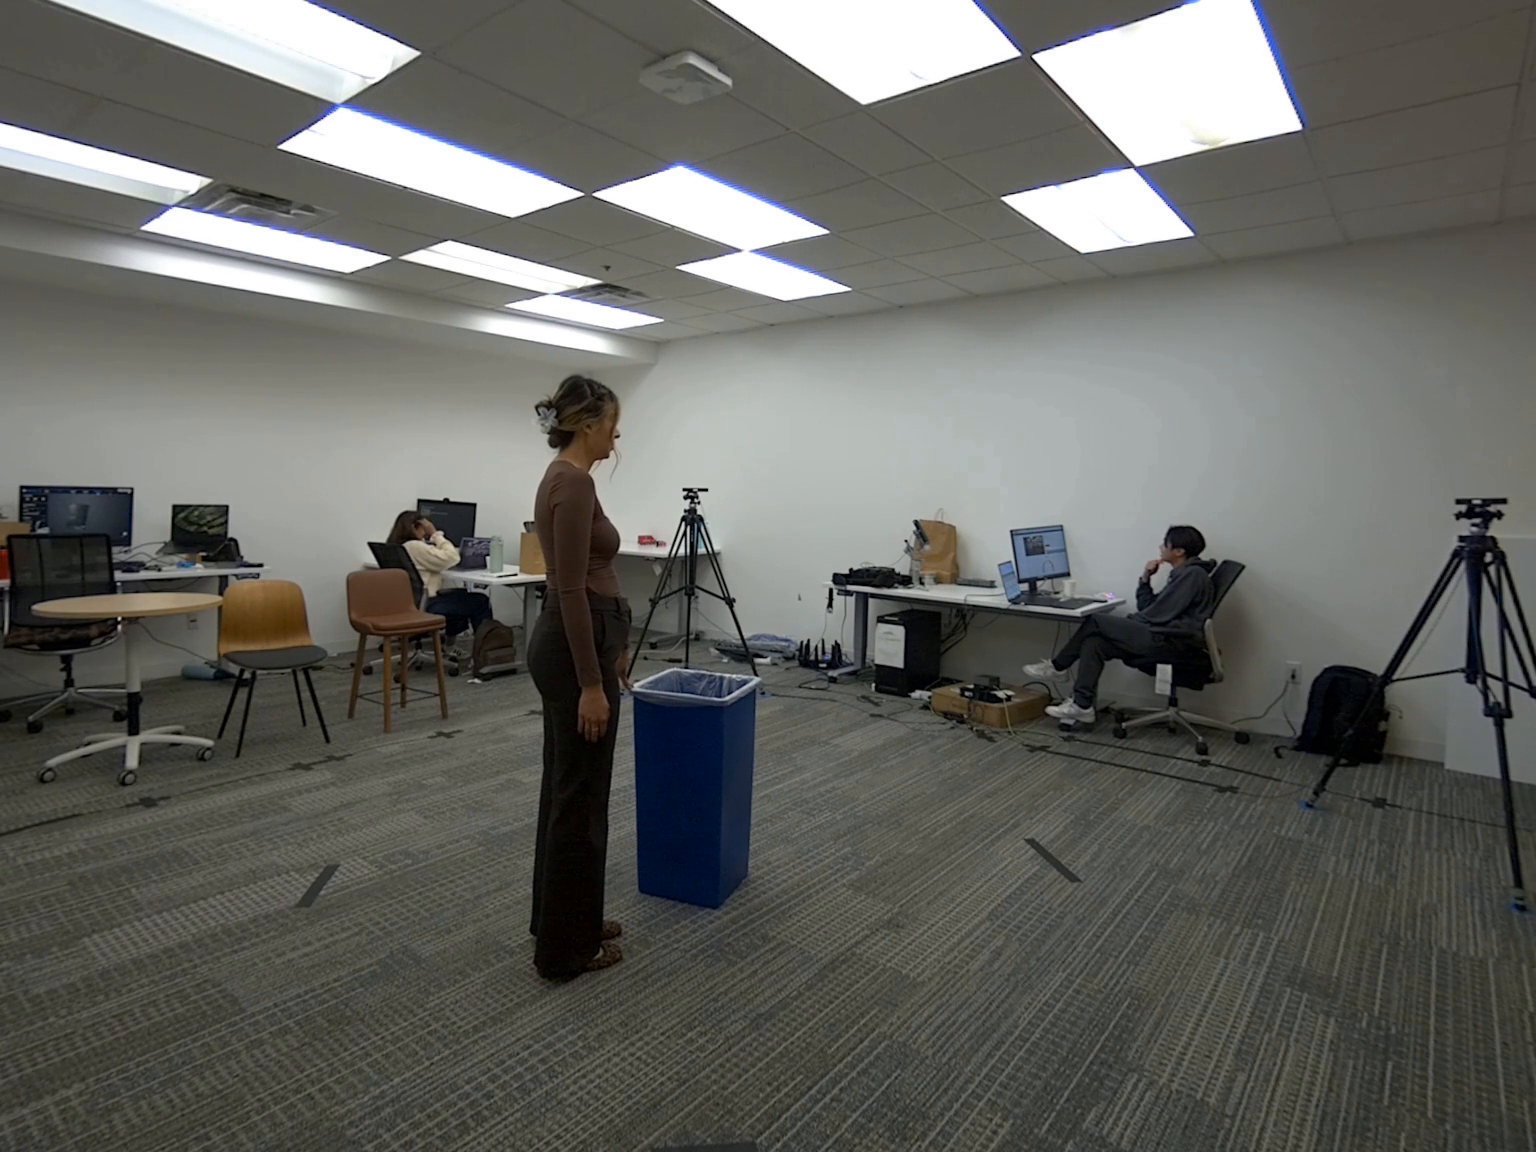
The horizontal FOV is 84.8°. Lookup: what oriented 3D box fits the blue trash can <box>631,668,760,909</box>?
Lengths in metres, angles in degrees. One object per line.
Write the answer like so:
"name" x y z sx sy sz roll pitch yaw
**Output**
"blue trash can" -0.262 0.722 2.977 0.387 0.712 0.366 2 3 21
